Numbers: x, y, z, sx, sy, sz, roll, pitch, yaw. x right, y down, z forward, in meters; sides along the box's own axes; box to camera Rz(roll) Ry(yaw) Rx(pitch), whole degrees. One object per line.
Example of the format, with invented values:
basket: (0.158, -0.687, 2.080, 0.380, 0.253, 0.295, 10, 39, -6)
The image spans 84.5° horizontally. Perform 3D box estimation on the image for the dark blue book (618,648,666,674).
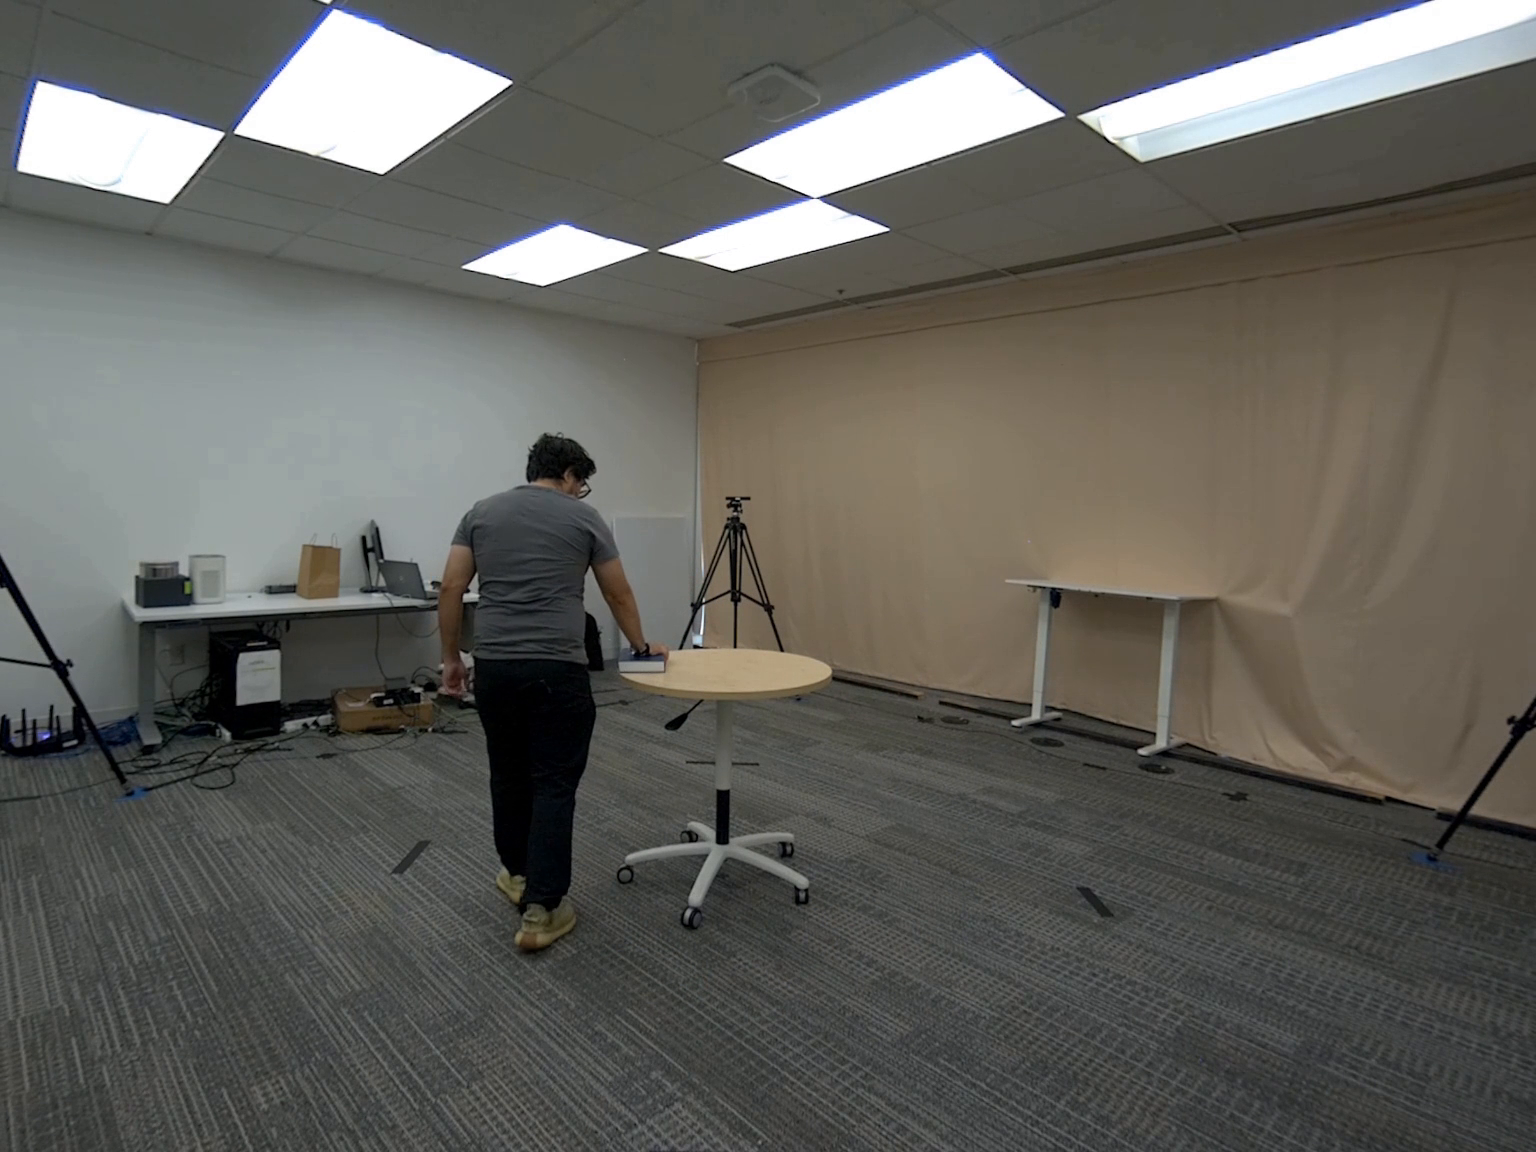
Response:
dark blue book: (-0.461, 0.307, 3.044, 0.163, 0.045, 0.247, 1, 5, -6)
